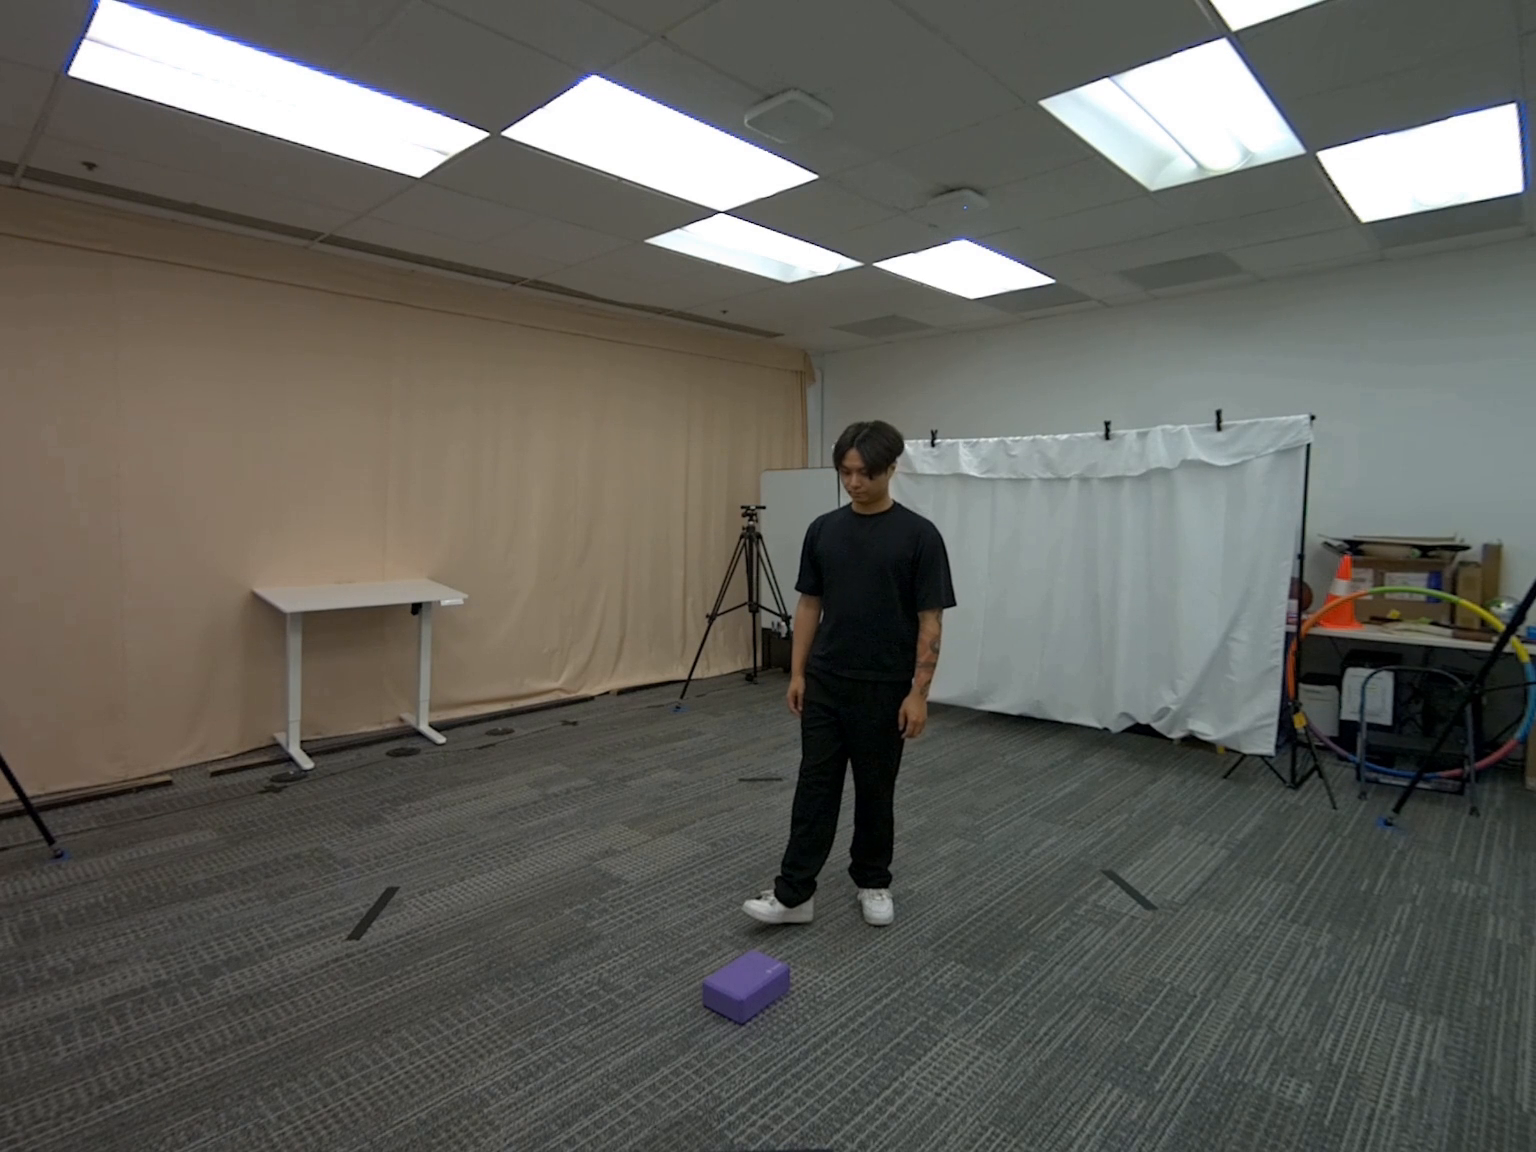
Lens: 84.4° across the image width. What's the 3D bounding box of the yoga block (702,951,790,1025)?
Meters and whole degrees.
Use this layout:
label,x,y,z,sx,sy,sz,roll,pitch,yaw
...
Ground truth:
label,x,y,z,sx,sy,sz,roll,pitch,yaw
yoga block,-0.056,1.157,2.378,0.154,0.076,0.222,4,6,39
